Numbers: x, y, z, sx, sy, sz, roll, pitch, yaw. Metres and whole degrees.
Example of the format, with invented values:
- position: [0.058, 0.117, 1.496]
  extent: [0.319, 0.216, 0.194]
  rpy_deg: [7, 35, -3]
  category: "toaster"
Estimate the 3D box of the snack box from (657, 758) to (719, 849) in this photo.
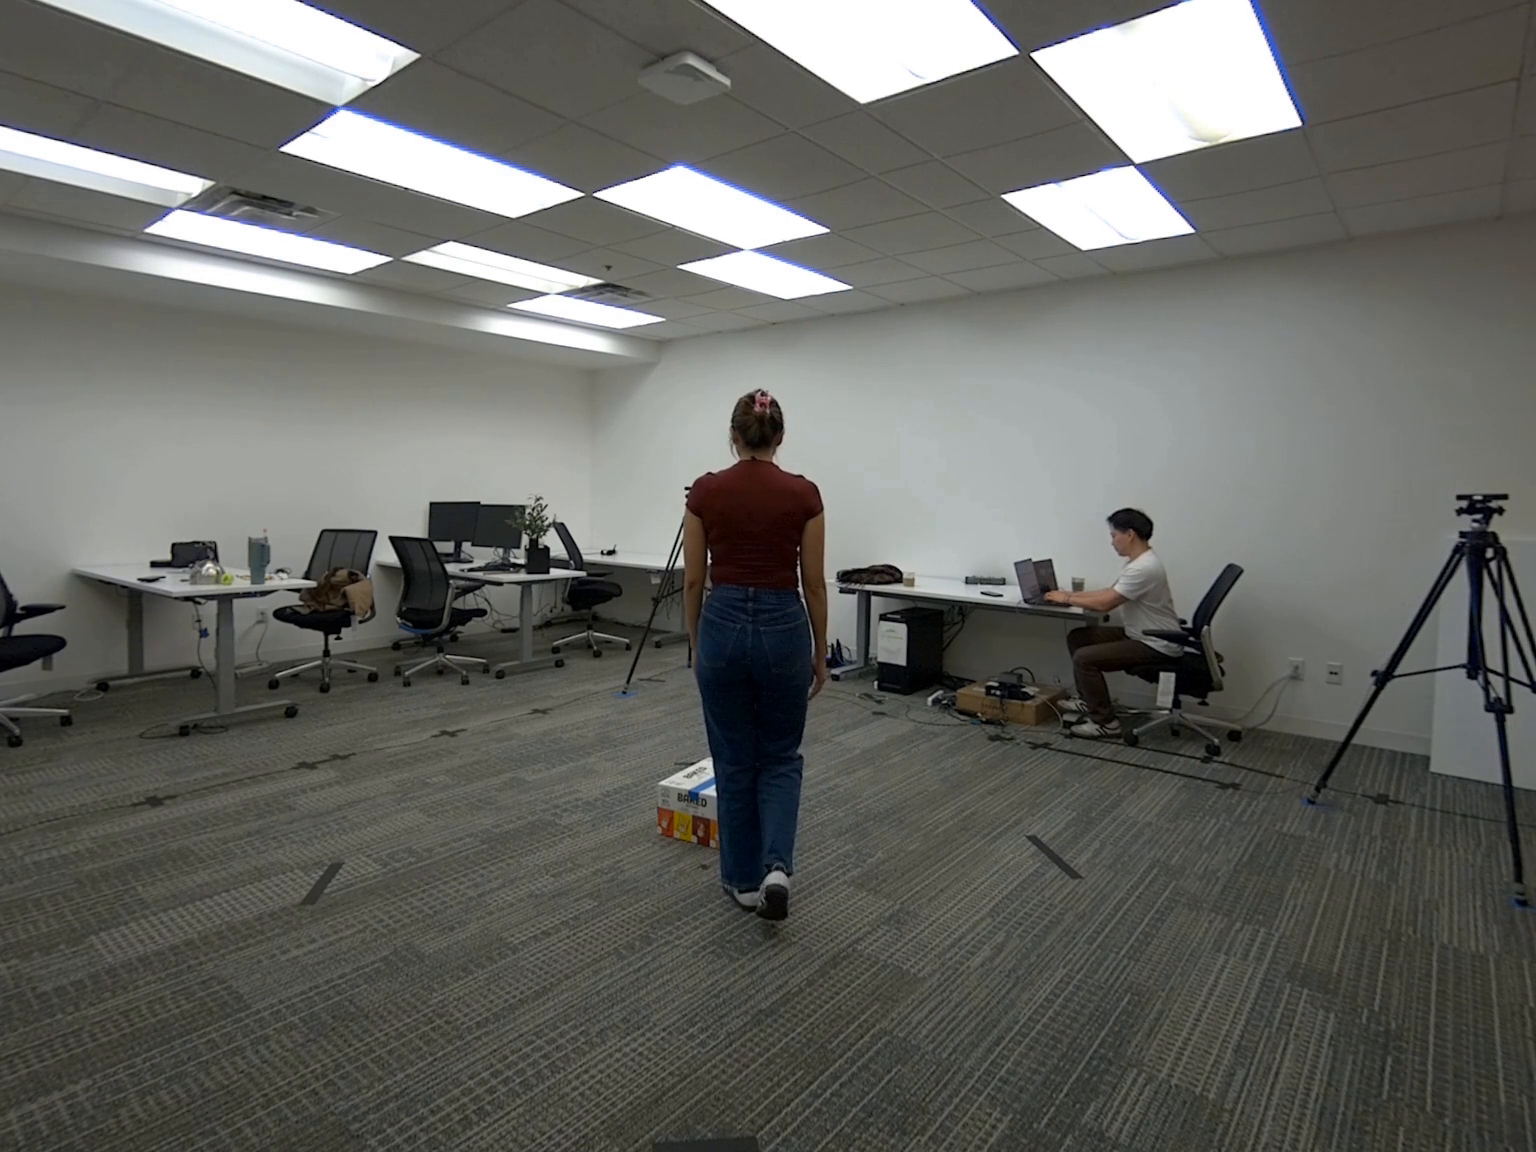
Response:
- position: [-0.215, 0.923, 3.497]
  extent: [0.350, 0.205, 0.395]
  rpy_deg: [4, 6, 29]
  category: "snack box"
